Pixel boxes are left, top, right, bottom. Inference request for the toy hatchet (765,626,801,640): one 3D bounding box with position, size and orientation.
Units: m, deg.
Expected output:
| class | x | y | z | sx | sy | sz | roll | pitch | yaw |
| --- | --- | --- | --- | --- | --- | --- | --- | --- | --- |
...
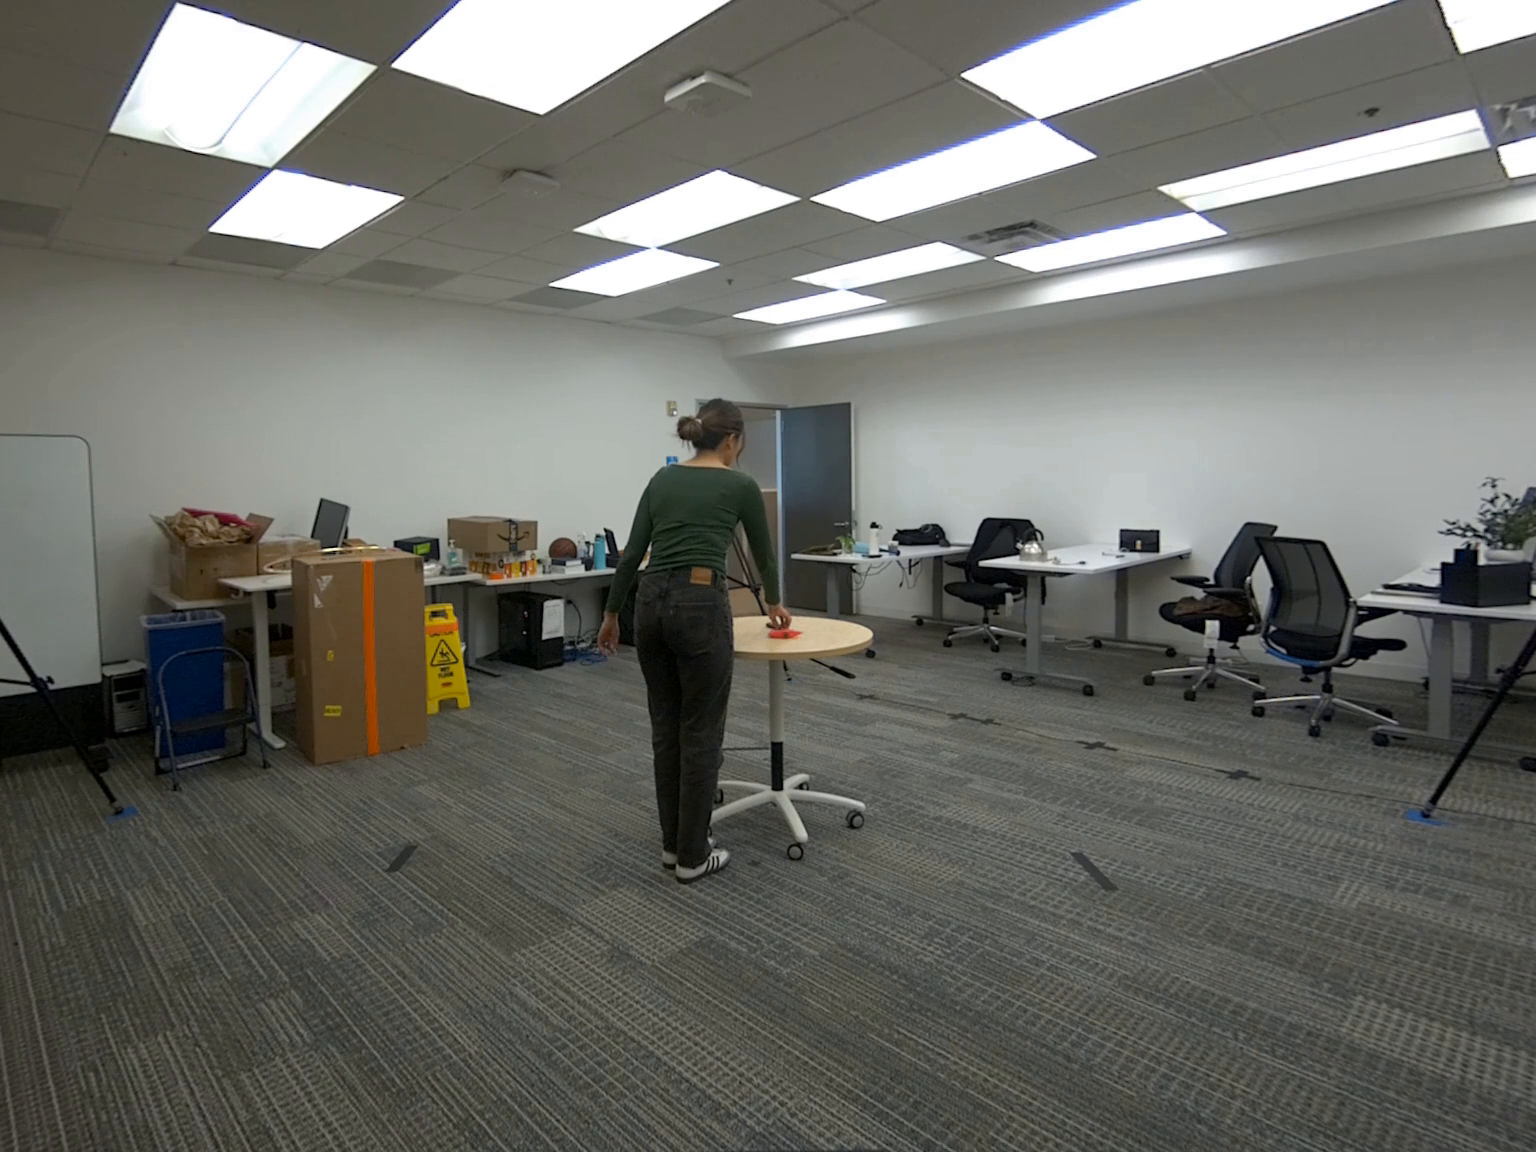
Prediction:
| class | x | y | z | sx | sy | sz | roll | pitch | yaw |
| --- | --- | --- | --- | --- | --- | --- | --- | --- | --- |
| toy hatchet | 0.035 | 0.214 | 3.408 | 0.129 | 0.029 | 0.276 | -9 | 9 | -19 |
